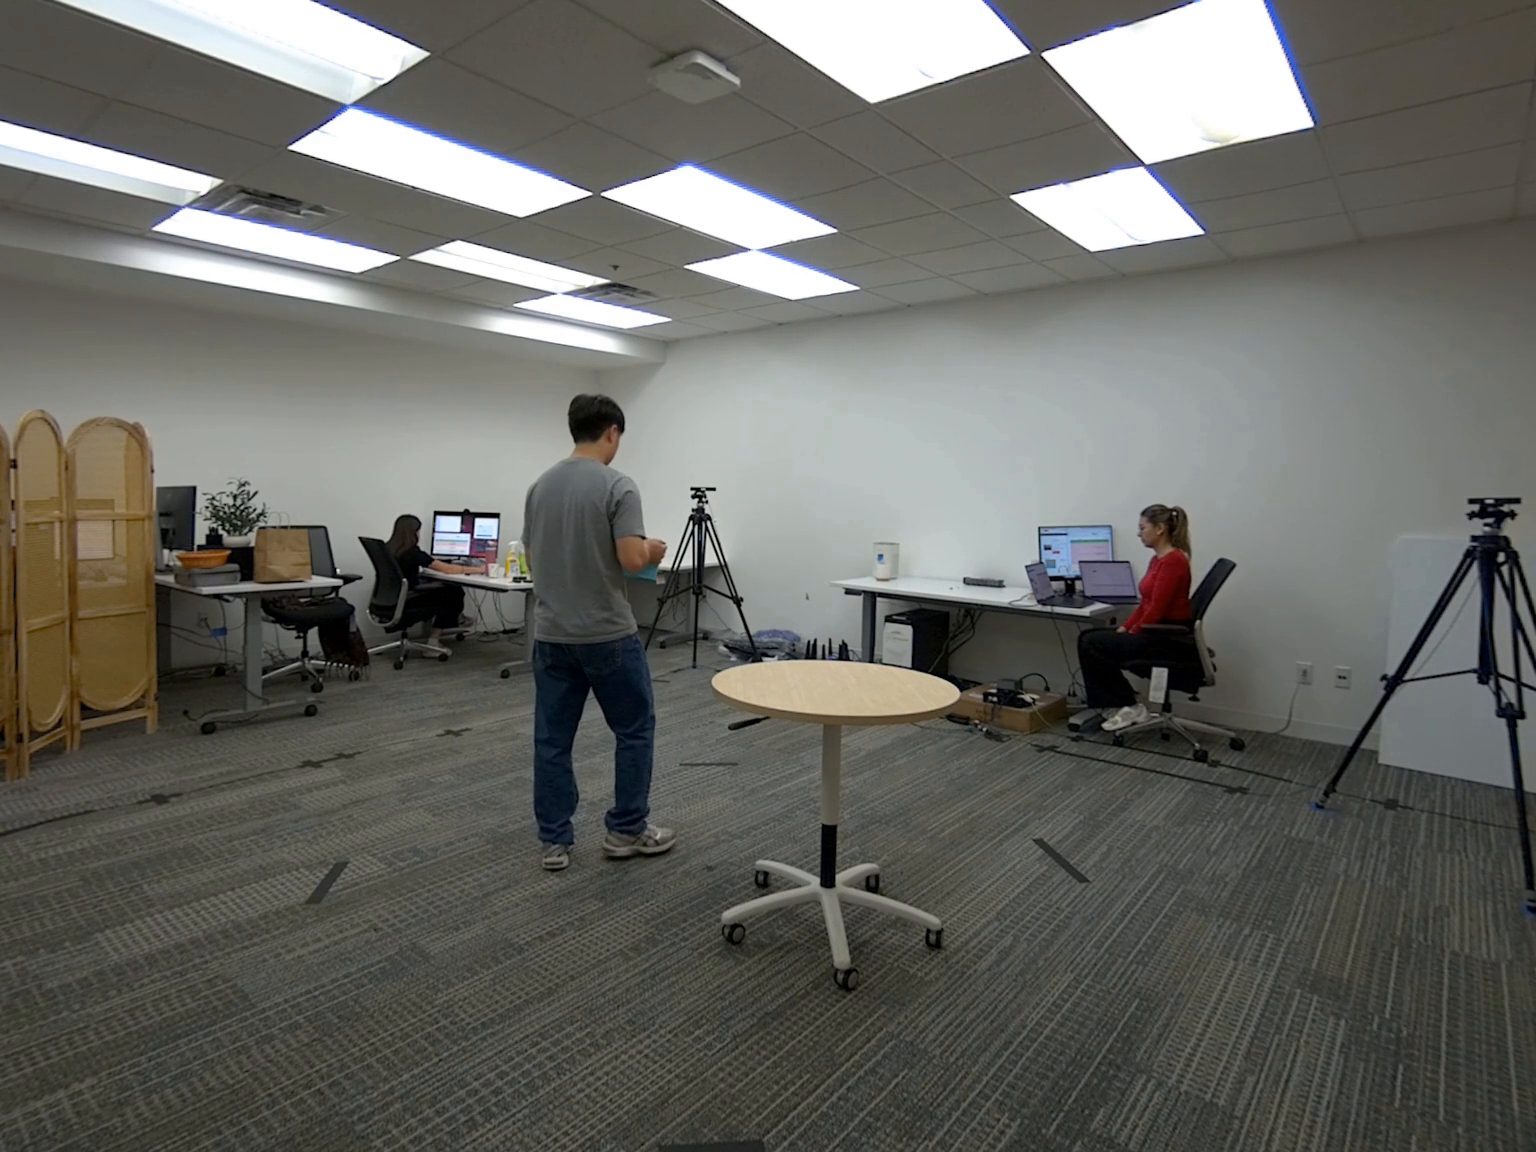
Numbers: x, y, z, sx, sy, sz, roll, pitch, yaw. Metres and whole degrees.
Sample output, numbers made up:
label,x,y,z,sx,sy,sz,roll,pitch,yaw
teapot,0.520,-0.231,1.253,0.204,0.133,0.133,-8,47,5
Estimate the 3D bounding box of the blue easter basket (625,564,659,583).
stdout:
label,x,y,z,sx,sy,sz,roll,pitch,yaw
blue easter basket,-0.554,-0.065,3.344,0.243,0.157,0.242,5,-5,-1
